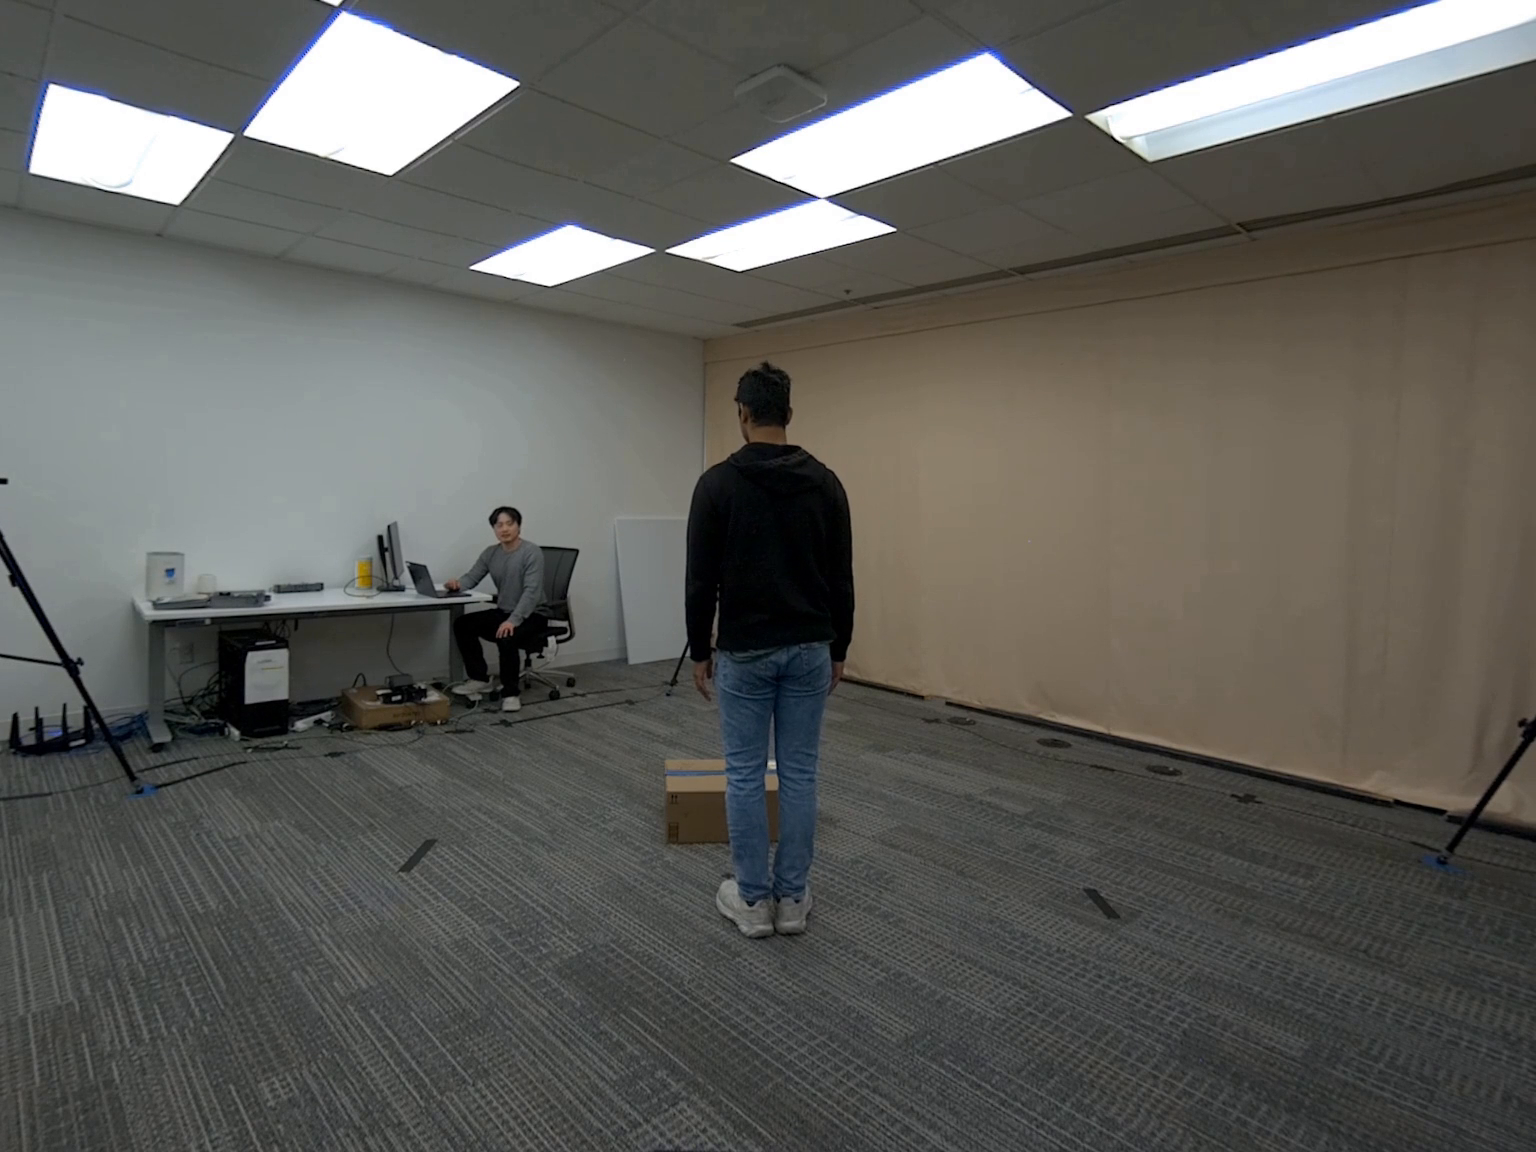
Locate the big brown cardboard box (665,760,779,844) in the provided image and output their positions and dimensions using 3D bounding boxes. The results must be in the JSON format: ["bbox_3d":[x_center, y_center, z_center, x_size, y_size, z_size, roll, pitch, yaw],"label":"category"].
[{"bbox_3d":[-0.160,0.951,3.604,0.585,0.232,0.421,0,5,-7],"label":"big brown cardboard box"}]
